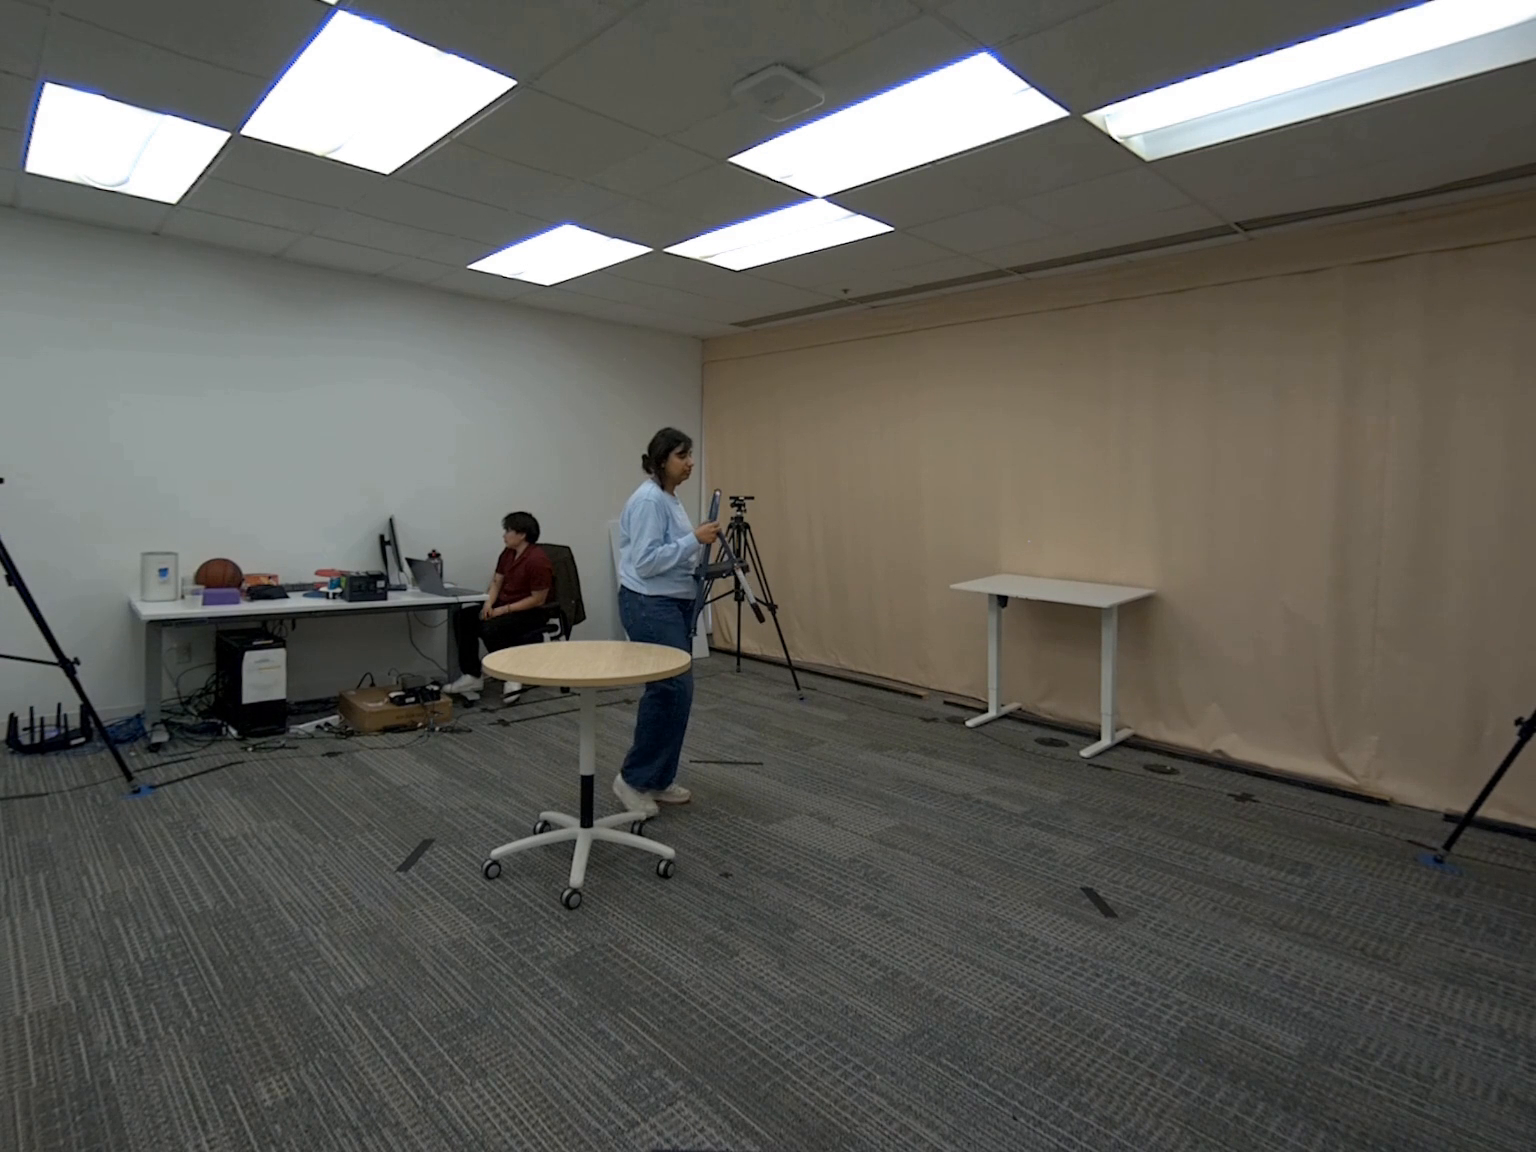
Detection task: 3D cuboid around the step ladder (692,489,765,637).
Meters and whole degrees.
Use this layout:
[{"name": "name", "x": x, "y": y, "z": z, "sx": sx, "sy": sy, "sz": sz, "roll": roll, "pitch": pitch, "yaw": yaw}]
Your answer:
[{"name": "step ladder", "x": -0.254, "y": -0.083, "z": 3.826, "sx": 0.349, "sy": 0.604, "sz": 0.433, "roll": -10, "pitch": 4, "yaw": -3}]
